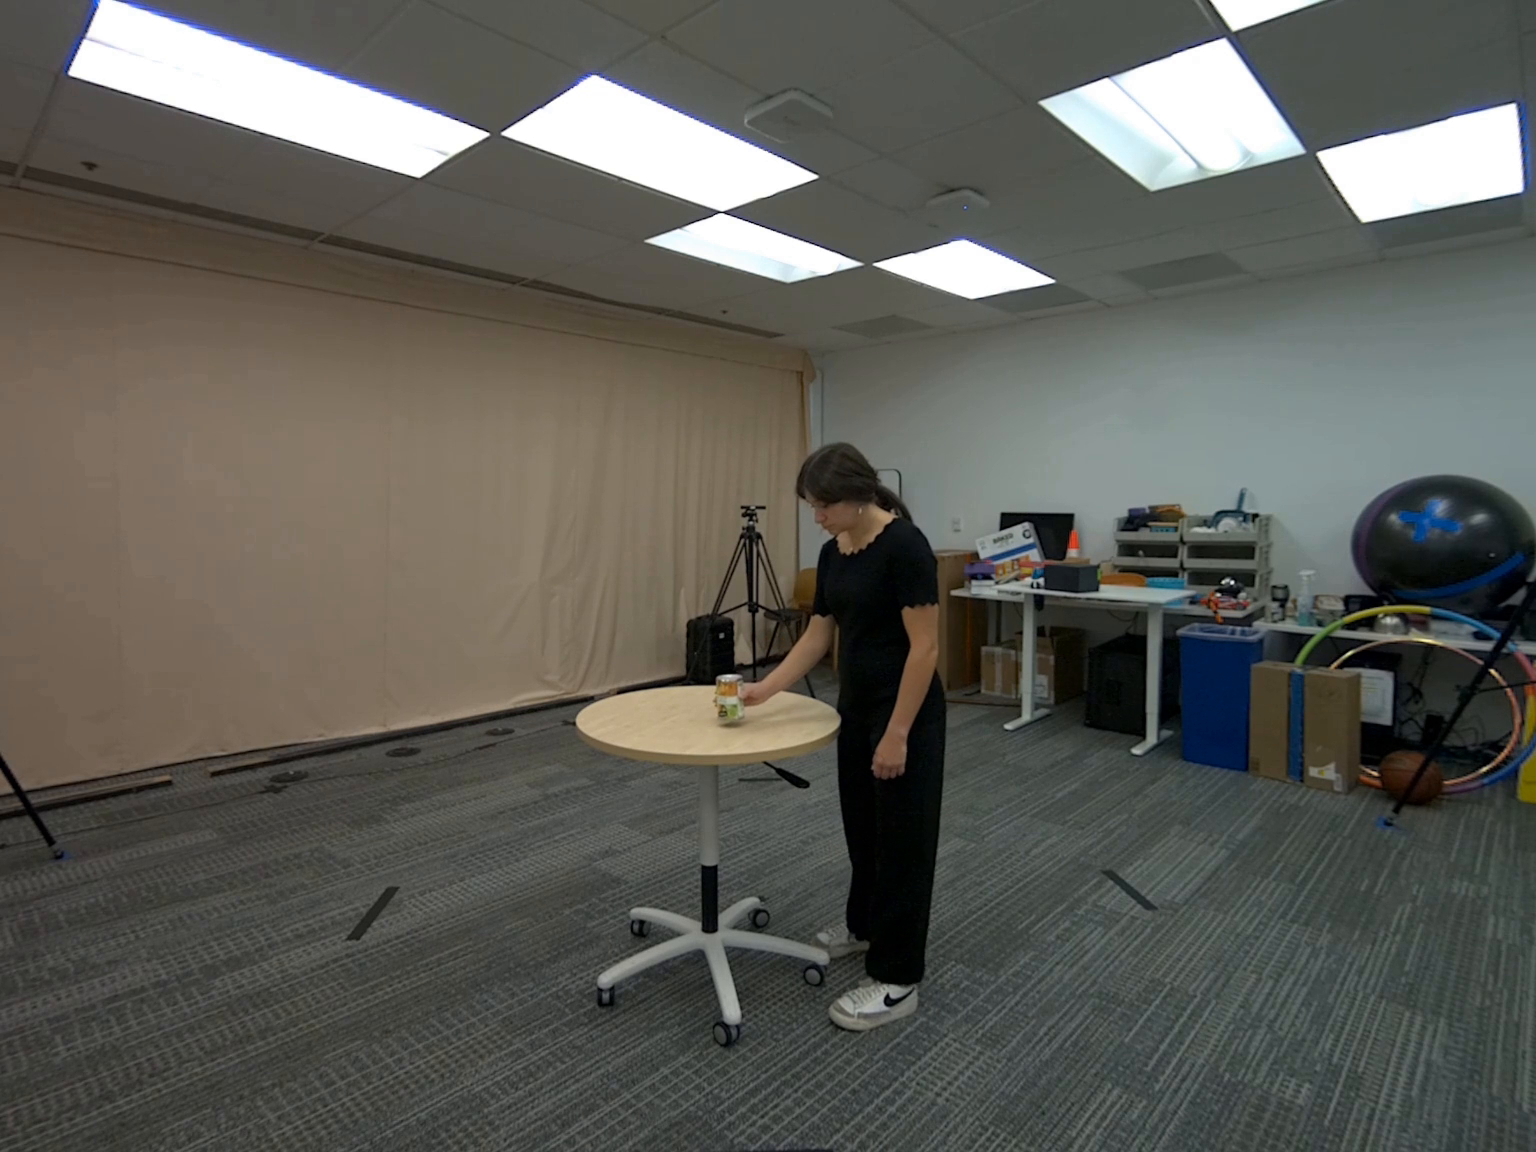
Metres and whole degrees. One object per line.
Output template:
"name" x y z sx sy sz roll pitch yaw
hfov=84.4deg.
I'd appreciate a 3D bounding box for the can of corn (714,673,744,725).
"can of corn" -0.103 0.334 2.354 0.074 0.111 0.074 -2 3 -2
